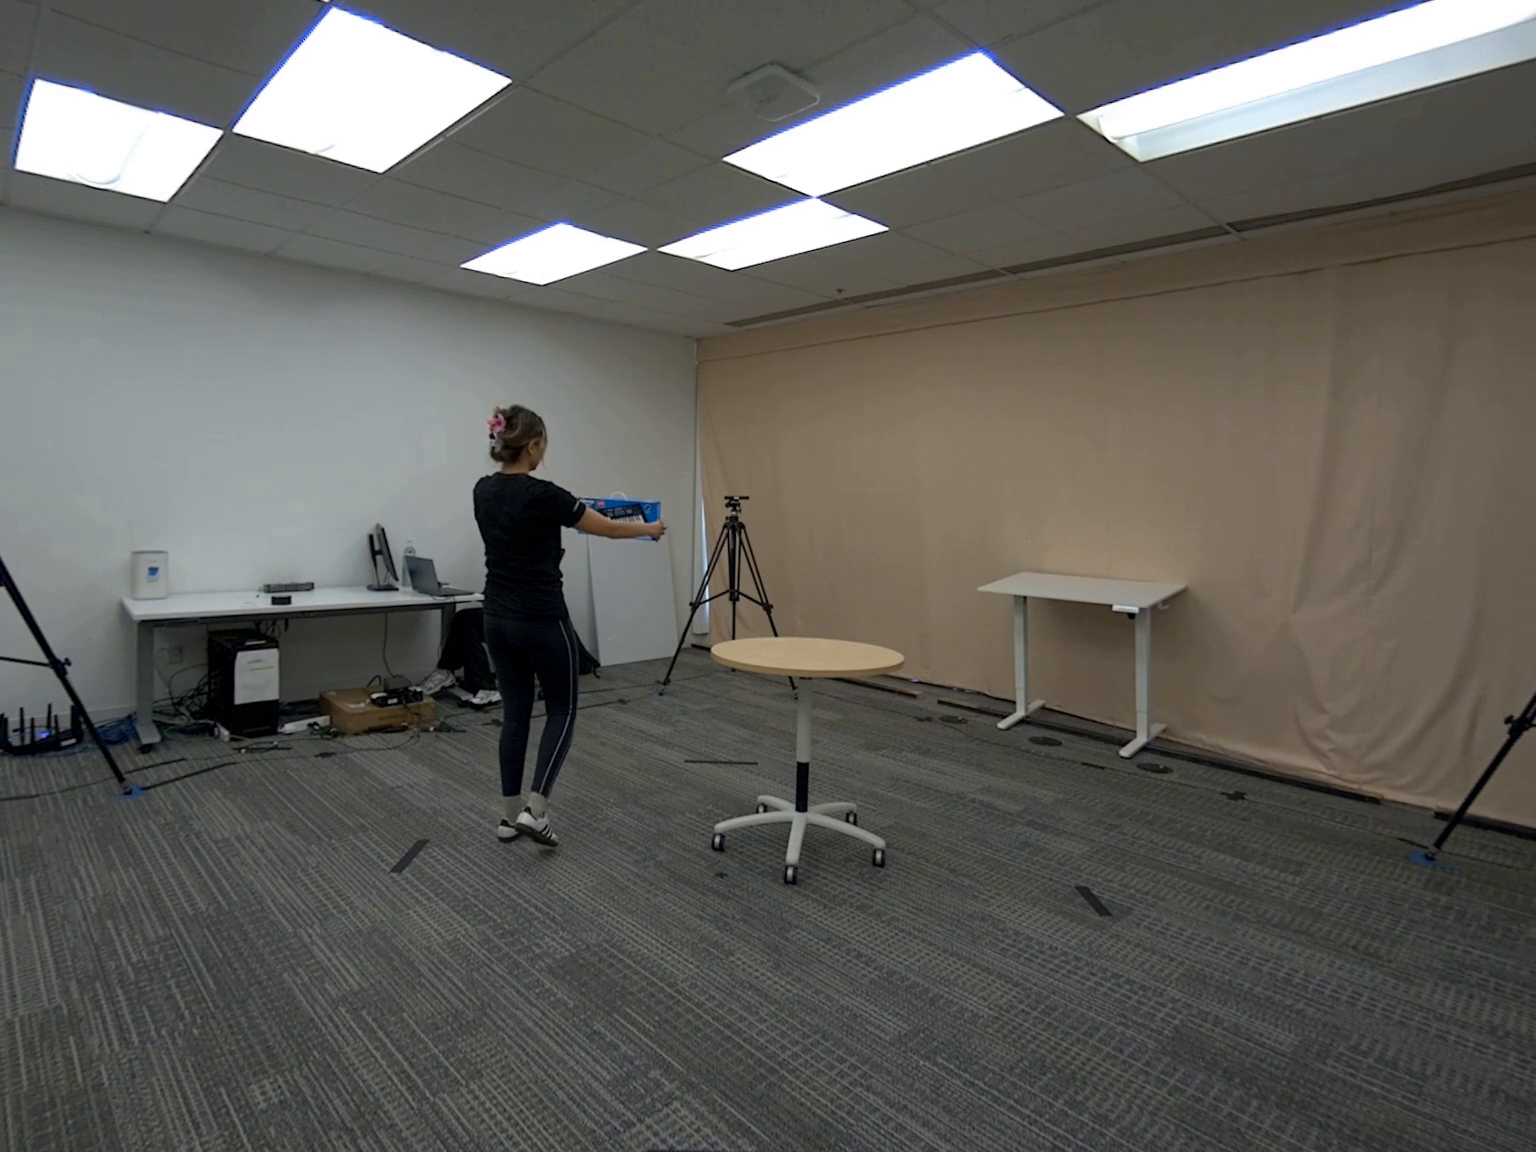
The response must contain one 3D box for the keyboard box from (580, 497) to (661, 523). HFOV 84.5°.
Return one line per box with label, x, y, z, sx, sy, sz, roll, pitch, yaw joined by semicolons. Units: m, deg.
keyboard box;-0.690;-0.261;3.826;0.447;0.175;0.058;7;8;31
